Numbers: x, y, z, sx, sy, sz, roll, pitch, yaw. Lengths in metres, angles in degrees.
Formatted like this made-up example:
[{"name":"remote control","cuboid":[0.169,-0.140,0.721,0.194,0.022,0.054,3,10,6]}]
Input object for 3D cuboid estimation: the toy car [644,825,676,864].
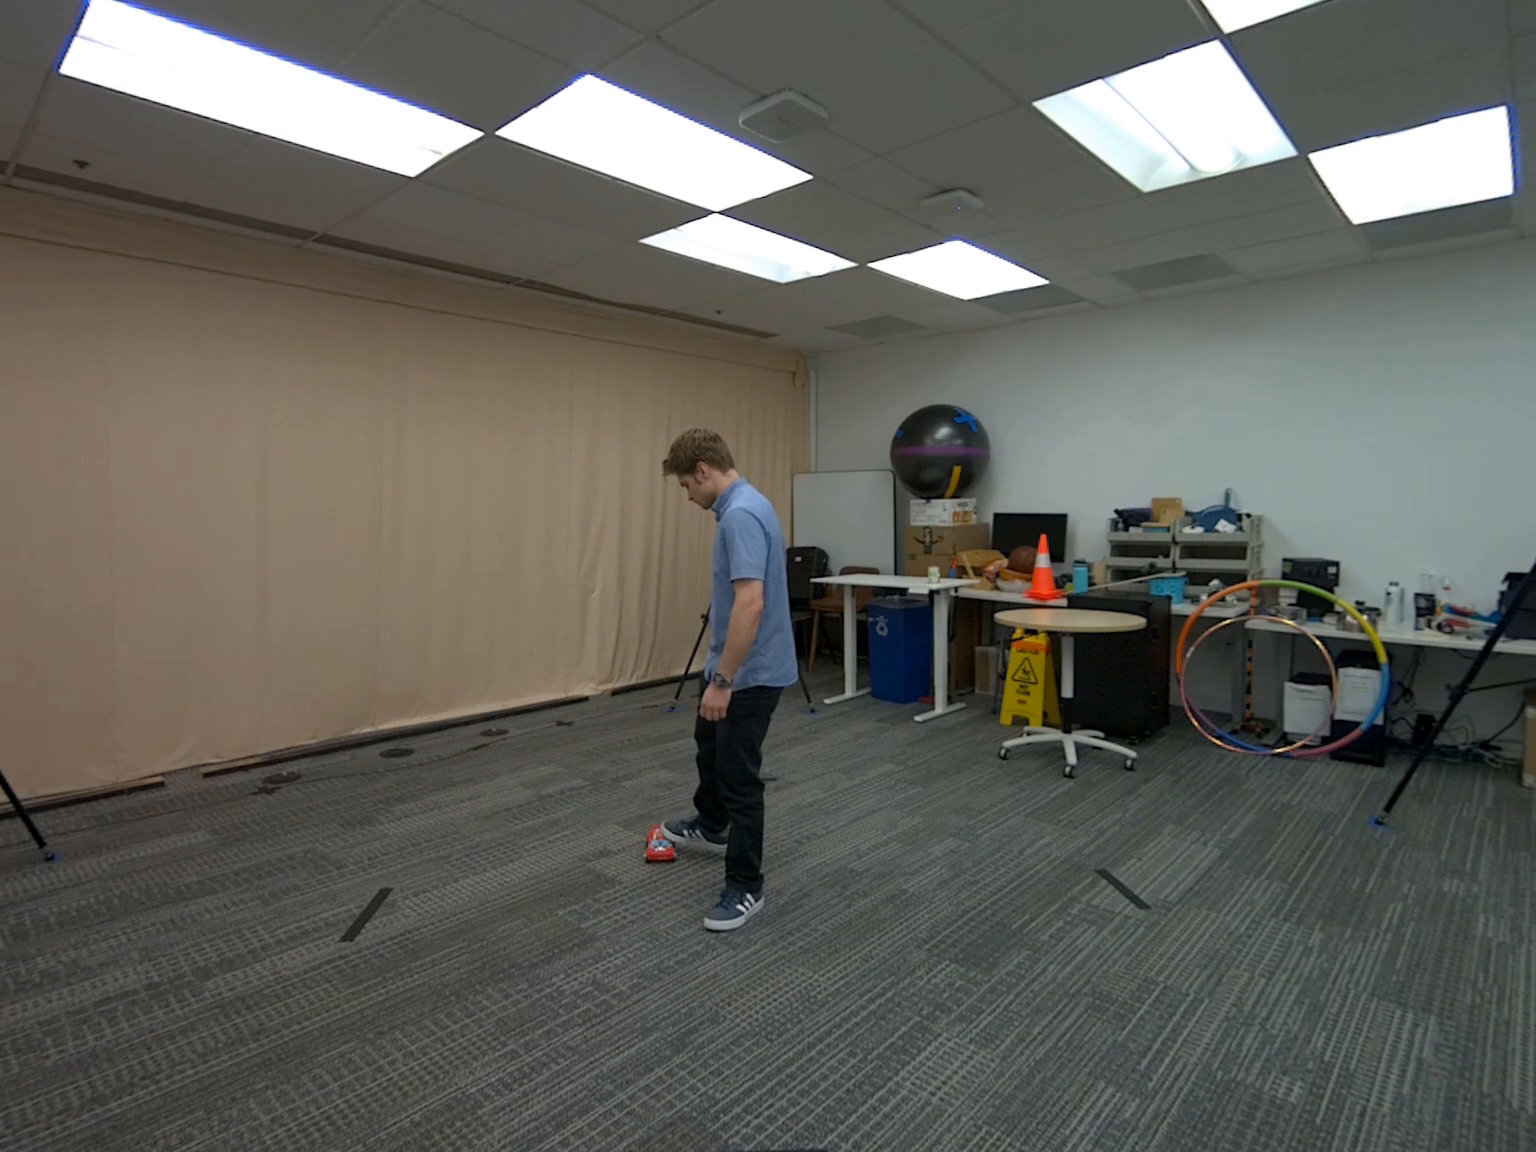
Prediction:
[{"name":"toy car","cuboid":[-0.433,1.082,3.400,0.129,0.082,0.258,-1,17,-6]}]
